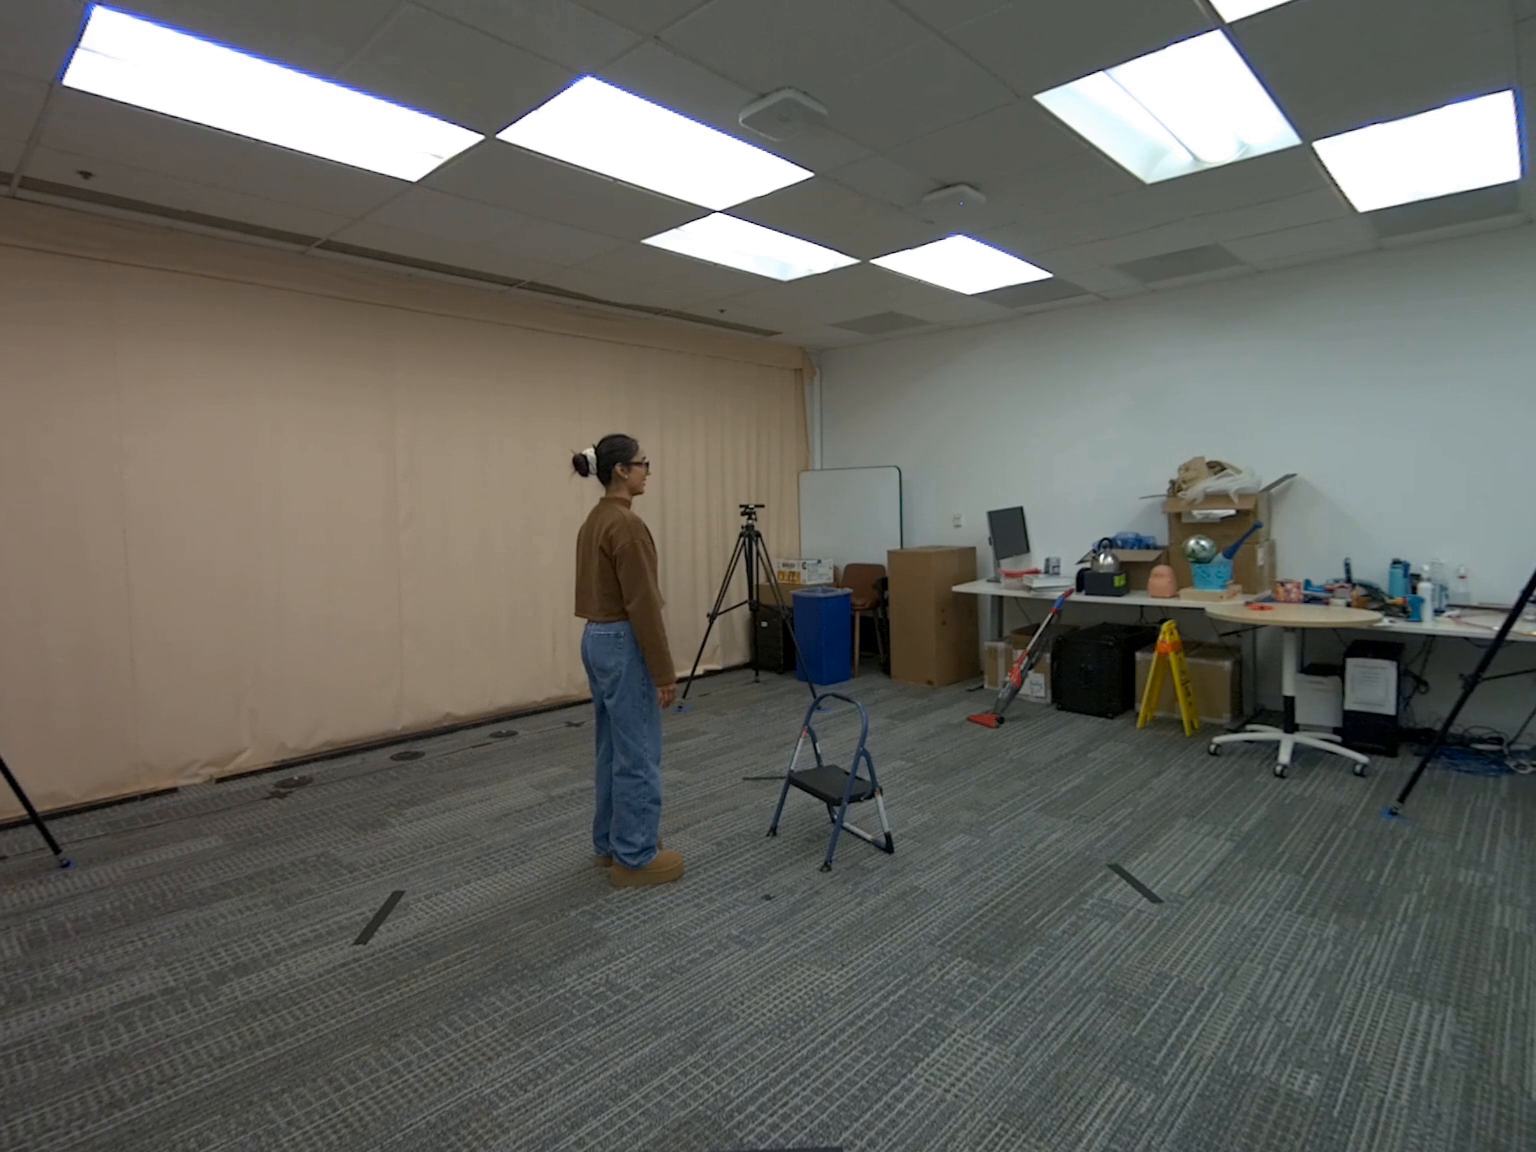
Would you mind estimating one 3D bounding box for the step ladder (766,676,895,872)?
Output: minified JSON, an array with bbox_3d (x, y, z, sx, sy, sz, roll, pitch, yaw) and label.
[{"bbox_3d":[0.251,0.796,3.426,0.340,0.605,0.443,-3,4,-30],"label":"step ladder"}]
